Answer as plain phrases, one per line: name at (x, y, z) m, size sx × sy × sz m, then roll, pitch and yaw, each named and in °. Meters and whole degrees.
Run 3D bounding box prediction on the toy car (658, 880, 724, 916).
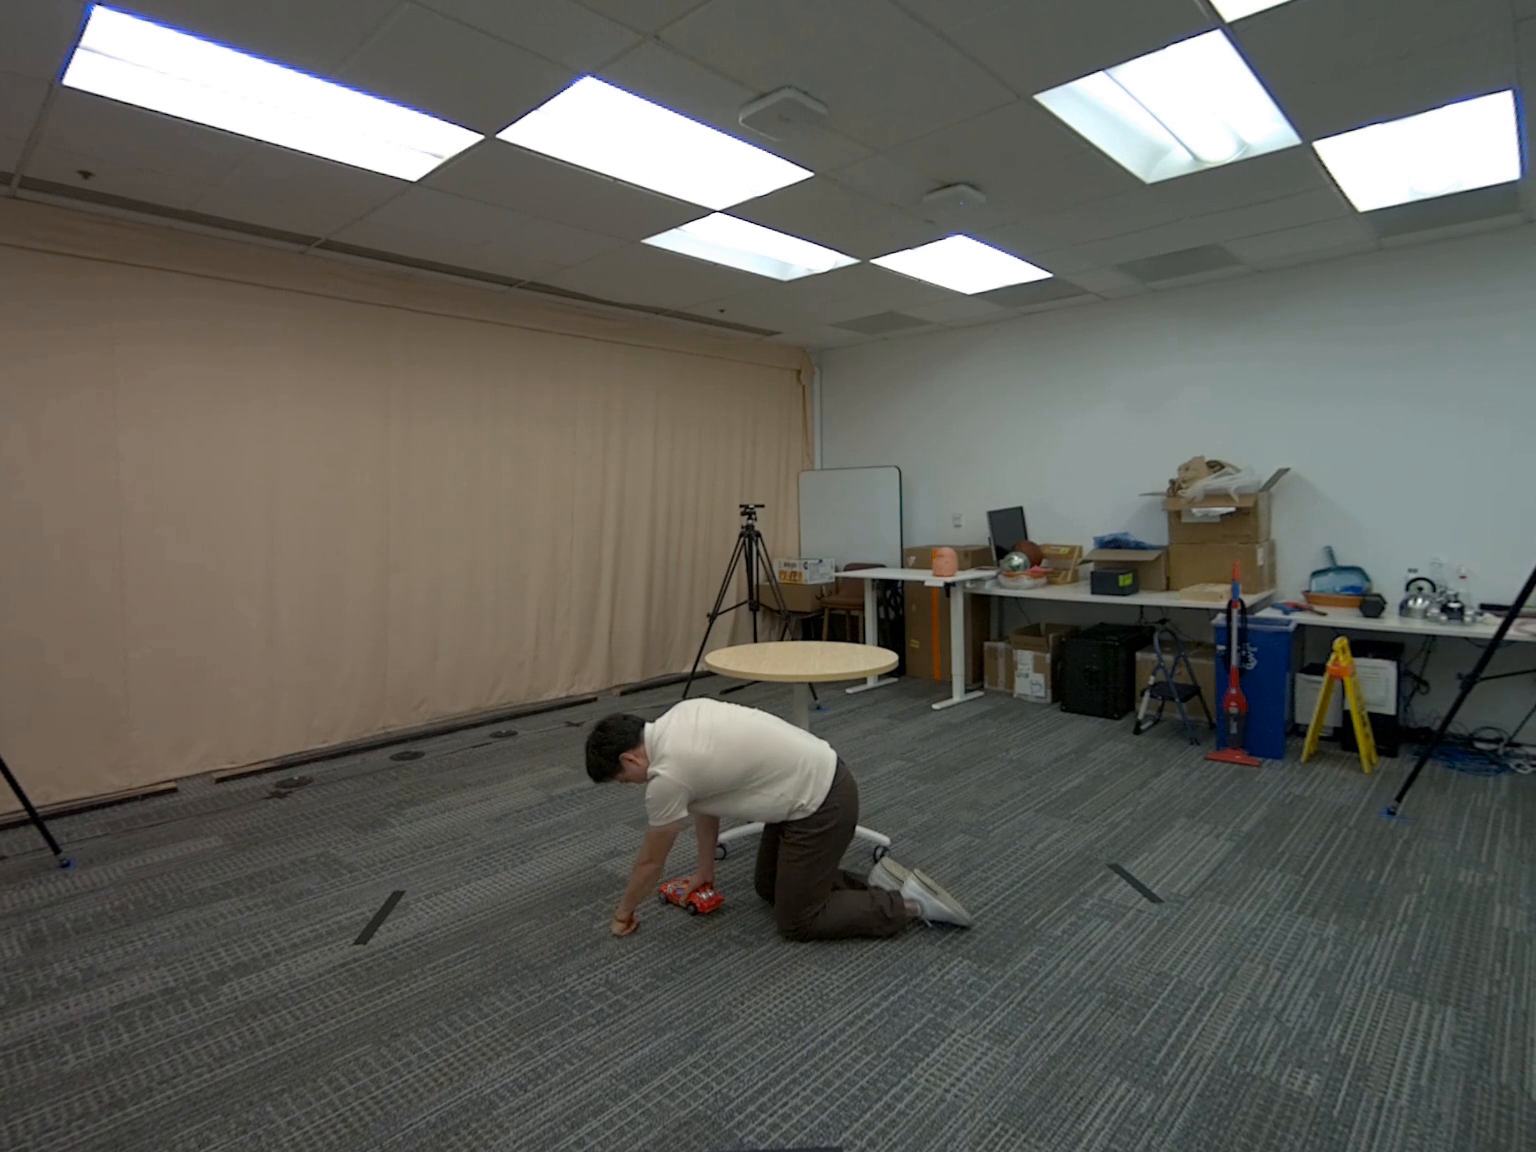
toy car at (-0.263, 1.121, 2.932) m, size 0.261 × 0.083 × 0.126 m, roll -11°, pitch -3°, yaw 41°
